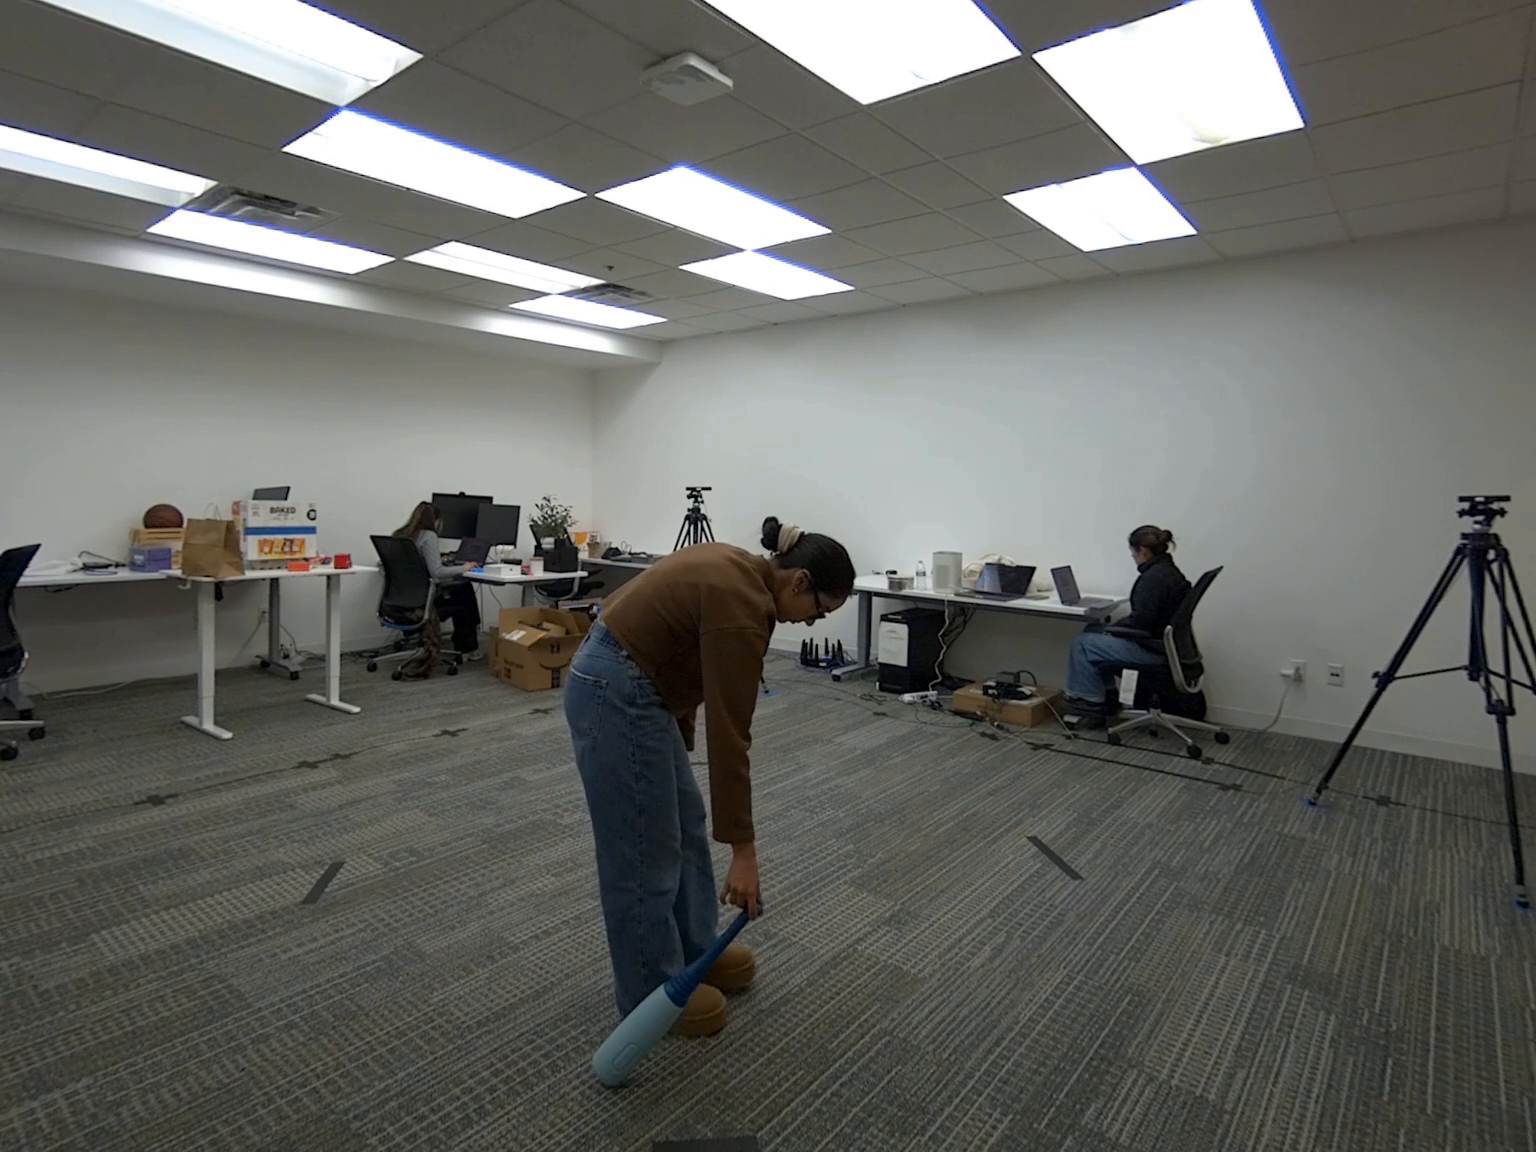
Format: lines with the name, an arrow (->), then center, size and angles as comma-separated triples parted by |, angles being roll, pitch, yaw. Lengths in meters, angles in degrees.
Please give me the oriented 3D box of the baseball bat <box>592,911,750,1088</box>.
baseball bat -> -0.209, 0.960, 1.980 | 0.089, 0.543, 0.089 | 42, 2, -4
